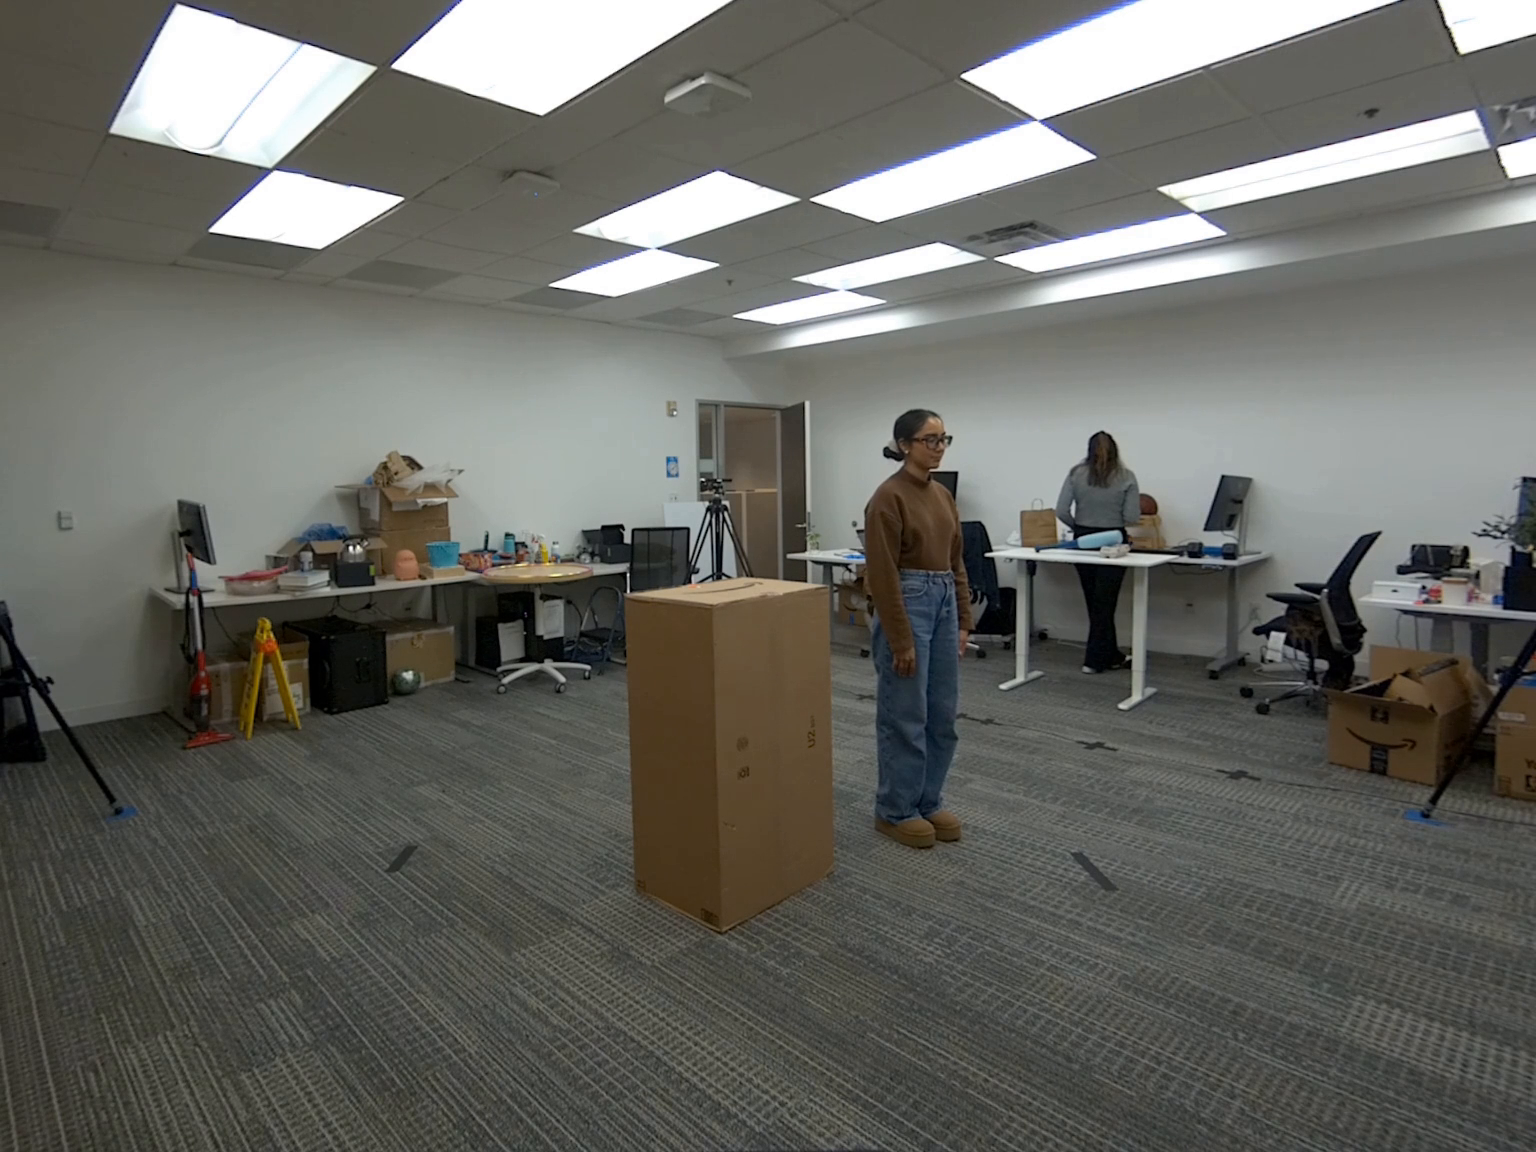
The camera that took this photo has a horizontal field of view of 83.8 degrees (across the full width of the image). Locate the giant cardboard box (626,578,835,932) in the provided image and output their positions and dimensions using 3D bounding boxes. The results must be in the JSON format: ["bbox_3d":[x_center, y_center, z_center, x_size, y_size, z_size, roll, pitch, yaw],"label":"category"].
[{"bbox_3d":[-0.123,0.558,2.940,0.460,1.023,0.569,3,6,42],"label":"giant cardboard box"}]
